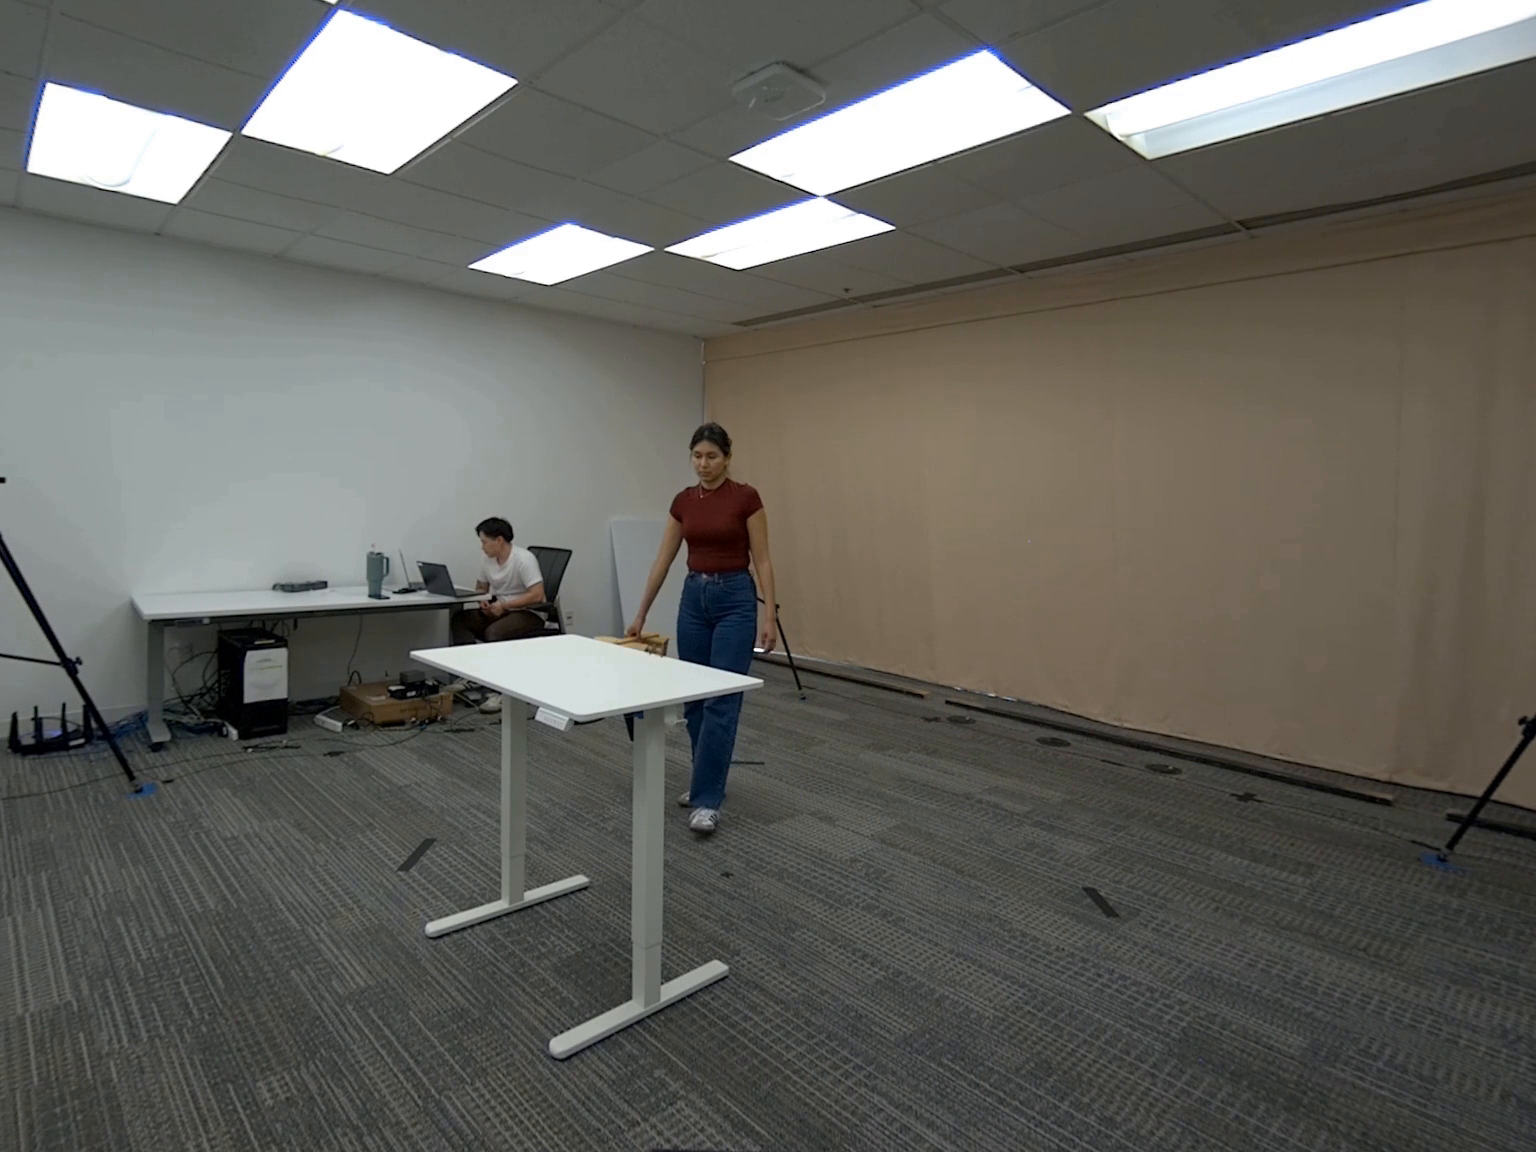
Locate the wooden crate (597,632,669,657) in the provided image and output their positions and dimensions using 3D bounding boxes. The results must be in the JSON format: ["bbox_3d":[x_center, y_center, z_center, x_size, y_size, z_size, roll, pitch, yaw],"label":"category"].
[{"bbox_3d":[-0.643,0.427,3.898,0.304,0.322,0.273,11,13,8],"label":"wooden crate"}]
